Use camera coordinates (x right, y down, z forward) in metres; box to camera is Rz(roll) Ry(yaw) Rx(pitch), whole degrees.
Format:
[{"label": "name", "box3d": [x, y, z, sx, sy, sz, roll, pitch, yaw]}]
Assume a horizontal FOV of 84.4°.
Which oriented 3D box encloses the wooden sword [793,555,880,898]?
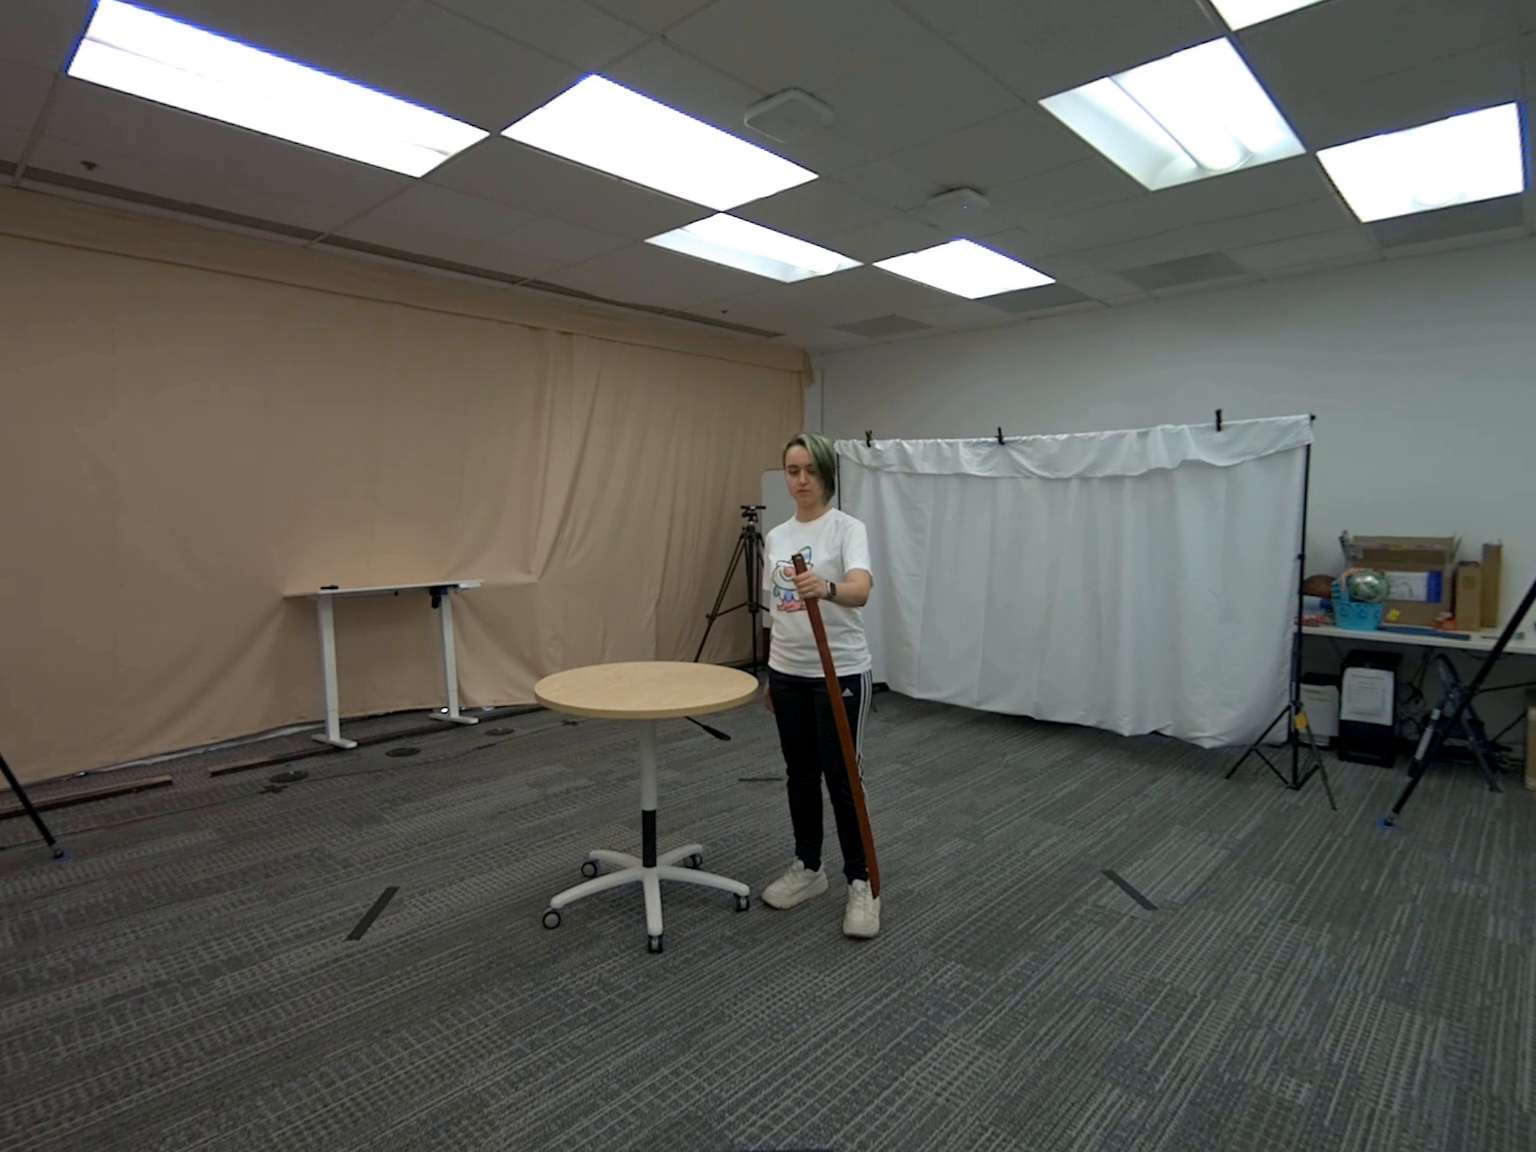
[{"label": "wooden sword", "box3d": [0.214, 0.448, 2.433, 0.023, 1.022, 0.053, -14, 3, -41]}]
